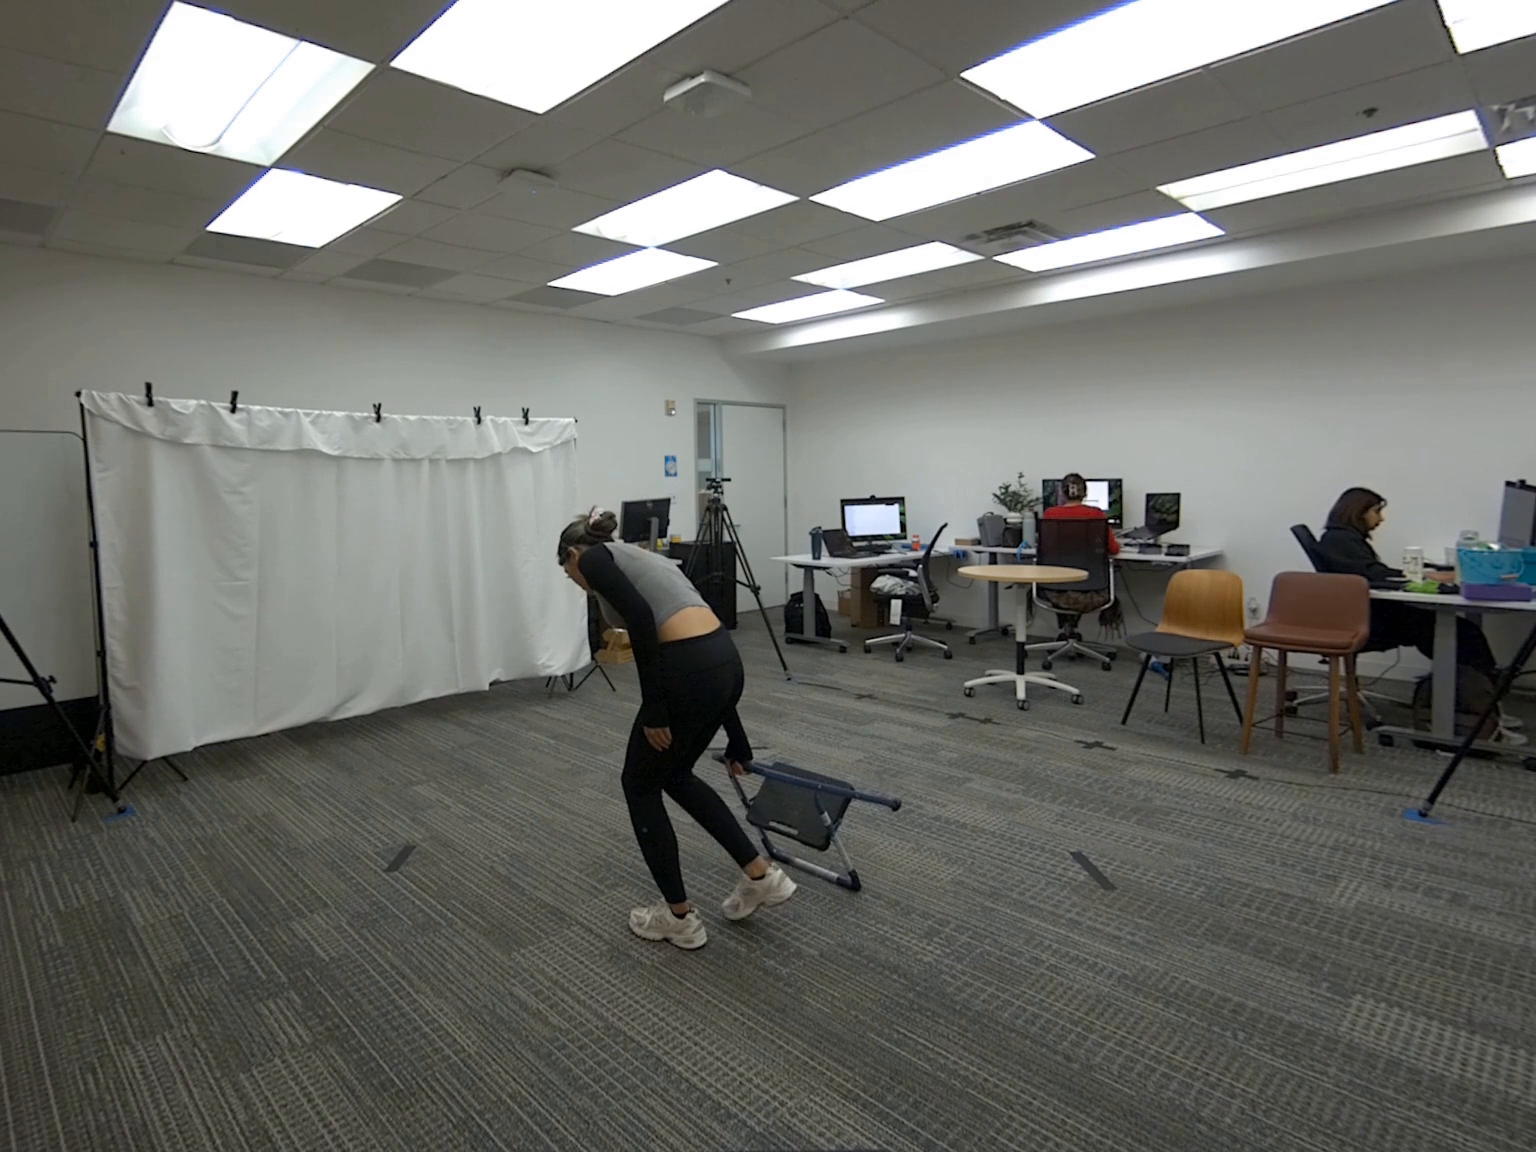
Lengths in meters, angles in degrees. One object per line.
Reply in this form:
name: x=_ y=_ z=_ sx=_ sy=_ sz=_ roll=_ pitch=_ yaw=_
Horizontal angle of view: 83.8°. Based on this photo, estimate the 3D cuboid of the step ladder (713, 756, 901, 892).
step ladder: x=0.093 y=0.733 z=2.935 sx=0.444 sy=0.351 sz=0.584 roll=3 pitch=-38 yaw=44
